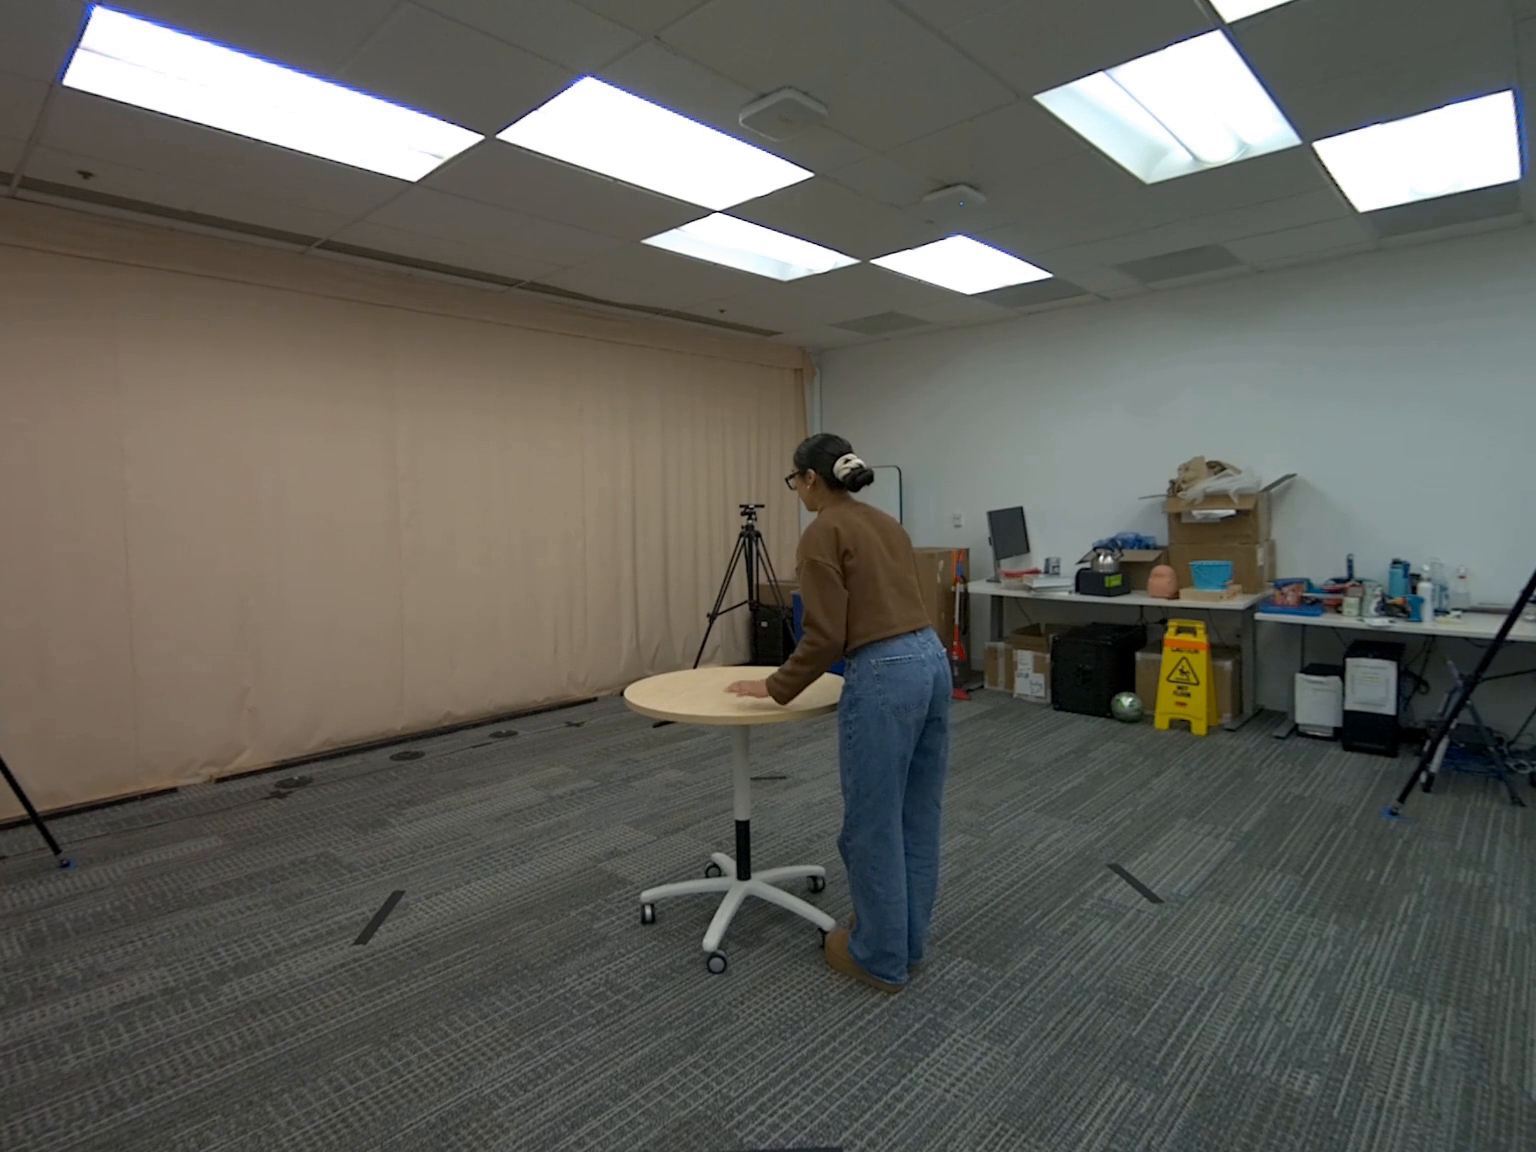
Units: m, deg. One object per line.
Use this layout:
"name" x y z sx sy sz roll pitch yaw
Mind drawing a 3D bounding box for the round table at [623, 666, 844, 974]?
"round table" -0.079 0.763 2.820 0.763 0.792 0.766 -1 3 -2
